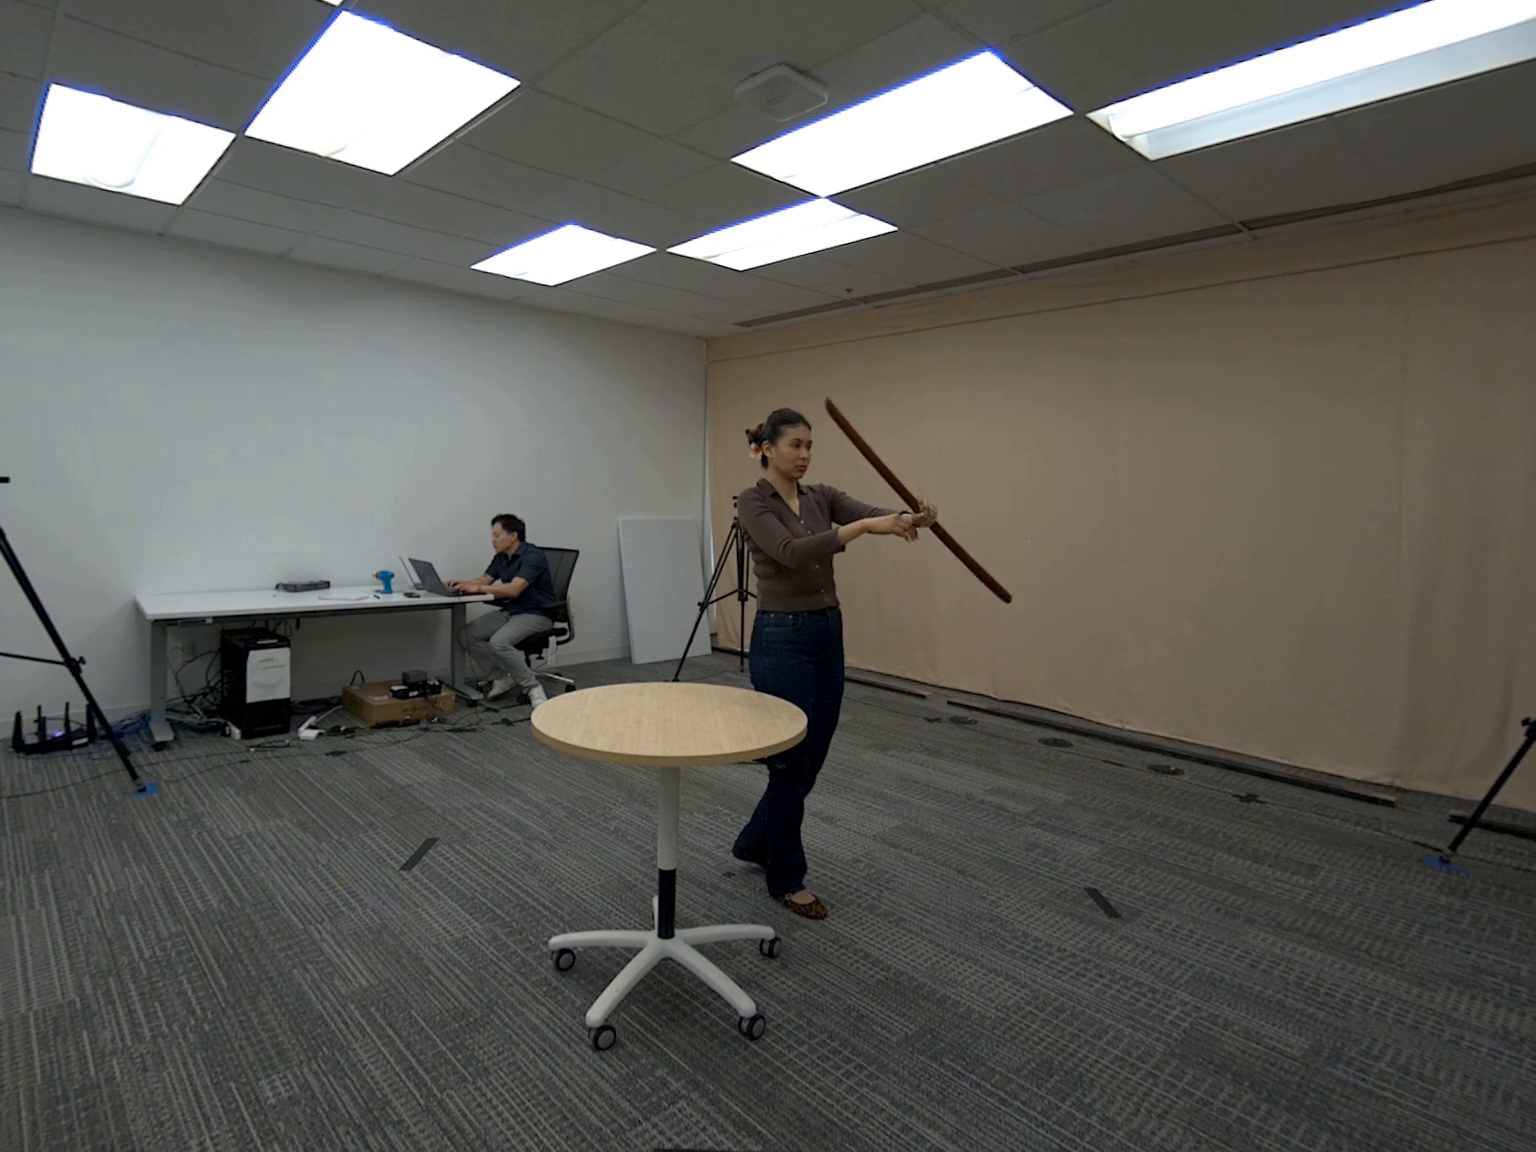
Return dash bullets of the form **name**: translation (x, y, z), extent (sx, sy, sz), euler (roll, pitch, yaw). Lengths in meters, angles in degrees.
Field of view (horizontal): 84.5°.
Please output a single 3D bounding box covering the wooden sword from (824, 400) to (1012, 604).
- **wooden sword**: translation (0.464, -0.185, 2.491), extent (0.997, 0.051, 0.025), euler (40, 9, -29)
